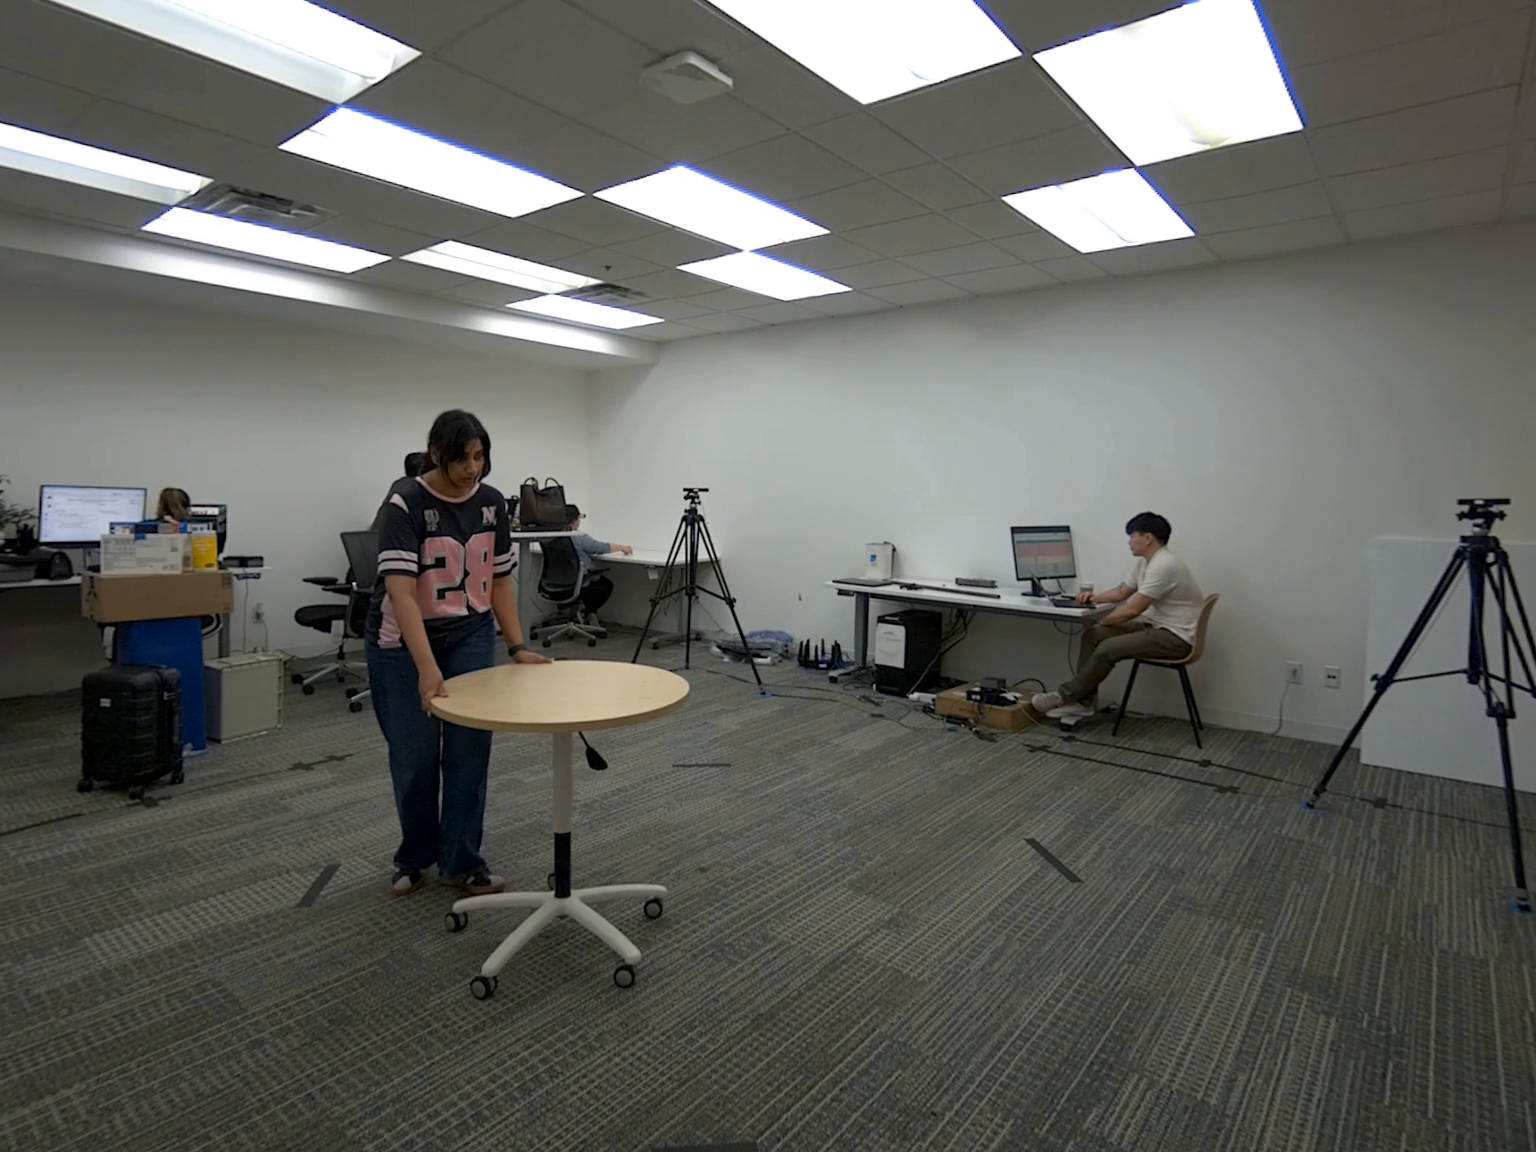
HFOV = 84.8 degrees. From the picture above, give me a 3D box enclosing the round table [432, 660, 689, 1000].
[{"bbox_3d":[-0.634,0.718,2.598,0.784,0.783,0.789,1,5,-2],"label":"round table"}]
